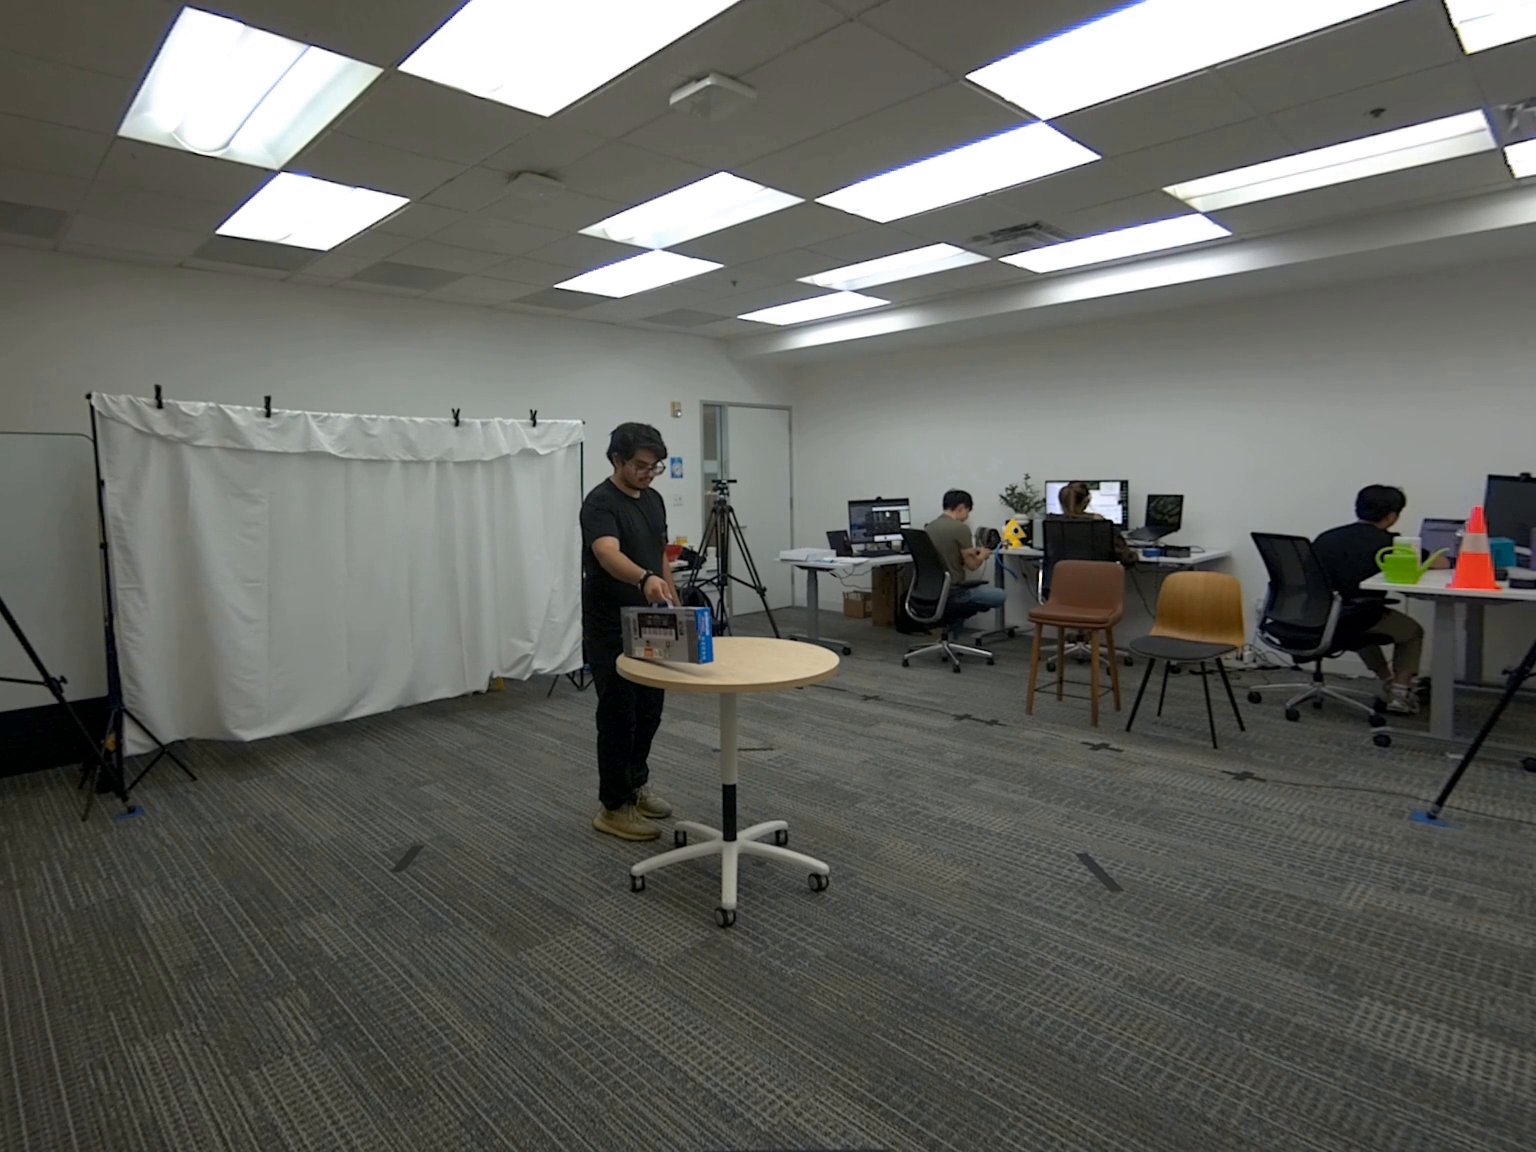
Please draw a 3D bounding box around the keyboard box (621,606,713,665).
[{"bbox_3d":[-0.342,0.192,2.830,0.057,0.176,0.449,-3,1,-41],"label":"keyboard box"}]
